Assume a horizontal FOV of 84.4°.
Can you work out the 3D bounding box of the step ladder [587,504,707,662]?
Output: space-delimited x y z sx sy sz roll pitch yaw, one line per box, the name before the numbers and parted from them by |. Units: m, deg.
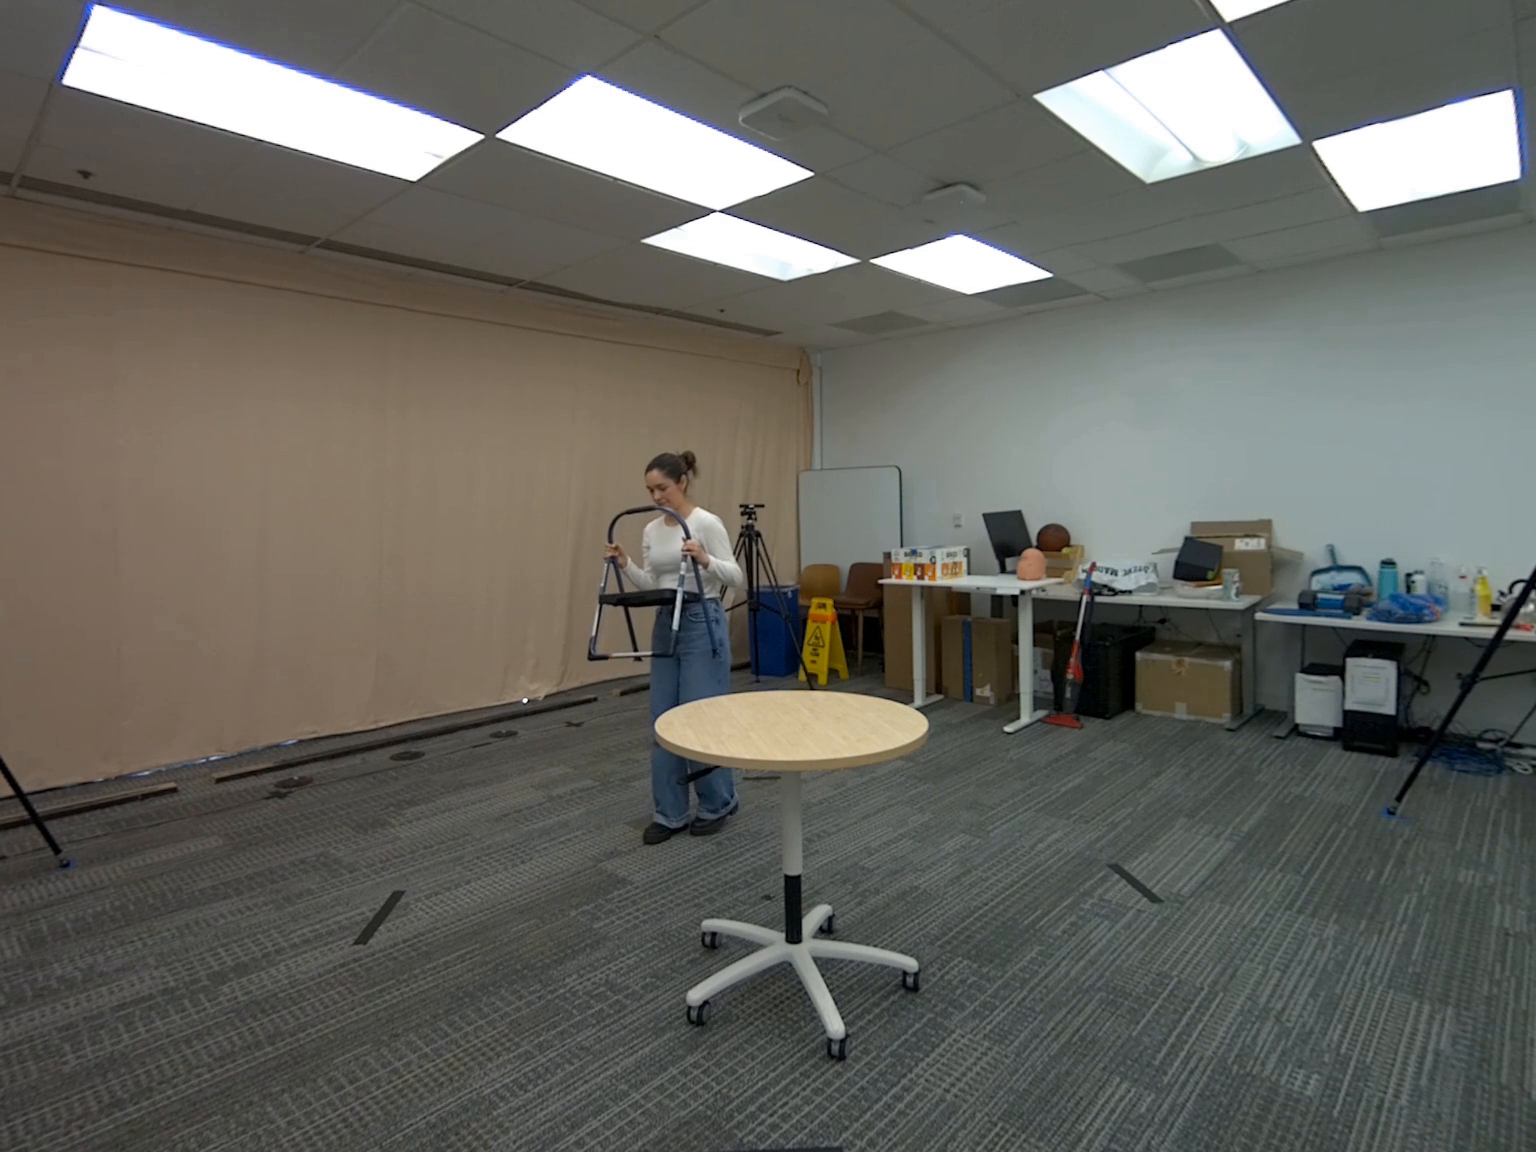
step ladder | -0.464 0.032 3.406 0.442 0.609 0.338 -6 -9 29
